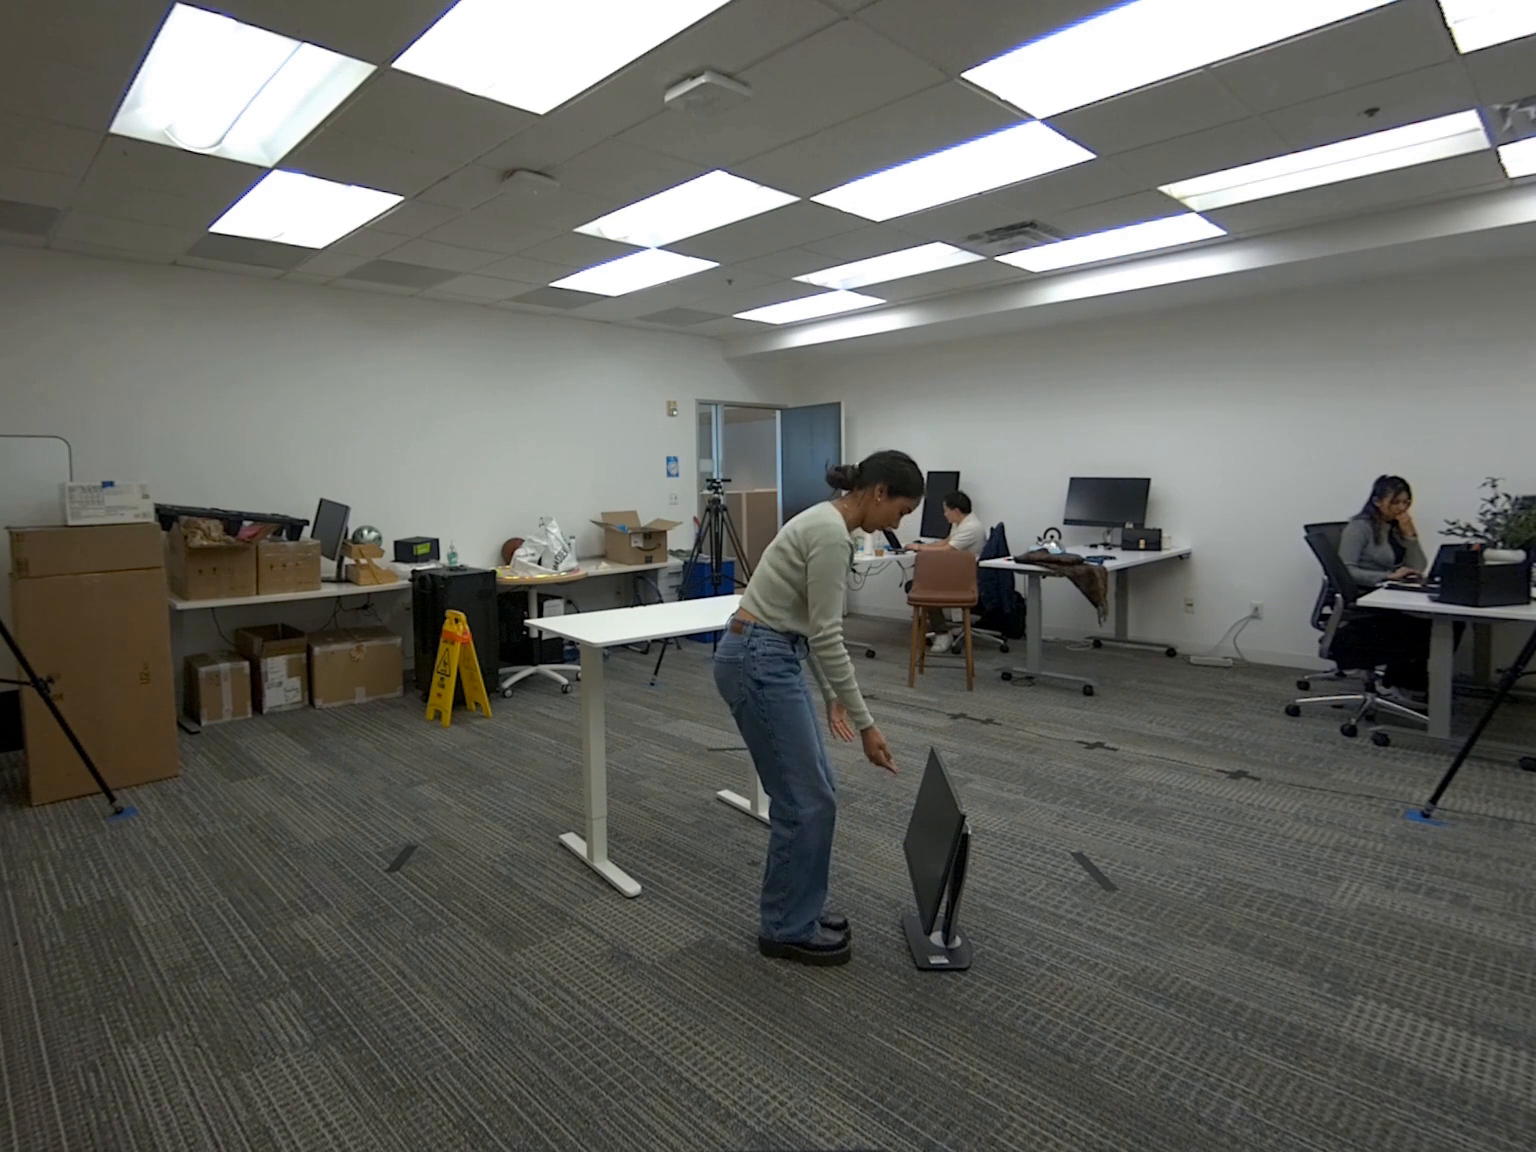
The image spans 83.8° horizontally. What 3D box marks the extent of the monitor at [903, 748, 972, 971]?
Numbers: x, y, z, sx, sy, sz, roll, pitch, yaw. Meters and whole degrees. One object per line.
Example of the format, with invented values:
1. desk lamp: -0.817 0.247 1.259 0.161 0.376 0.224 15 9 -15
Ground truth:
1. monitor: 0.506 0.845 2.522 0.187 0.520 0.541 0 7 0
